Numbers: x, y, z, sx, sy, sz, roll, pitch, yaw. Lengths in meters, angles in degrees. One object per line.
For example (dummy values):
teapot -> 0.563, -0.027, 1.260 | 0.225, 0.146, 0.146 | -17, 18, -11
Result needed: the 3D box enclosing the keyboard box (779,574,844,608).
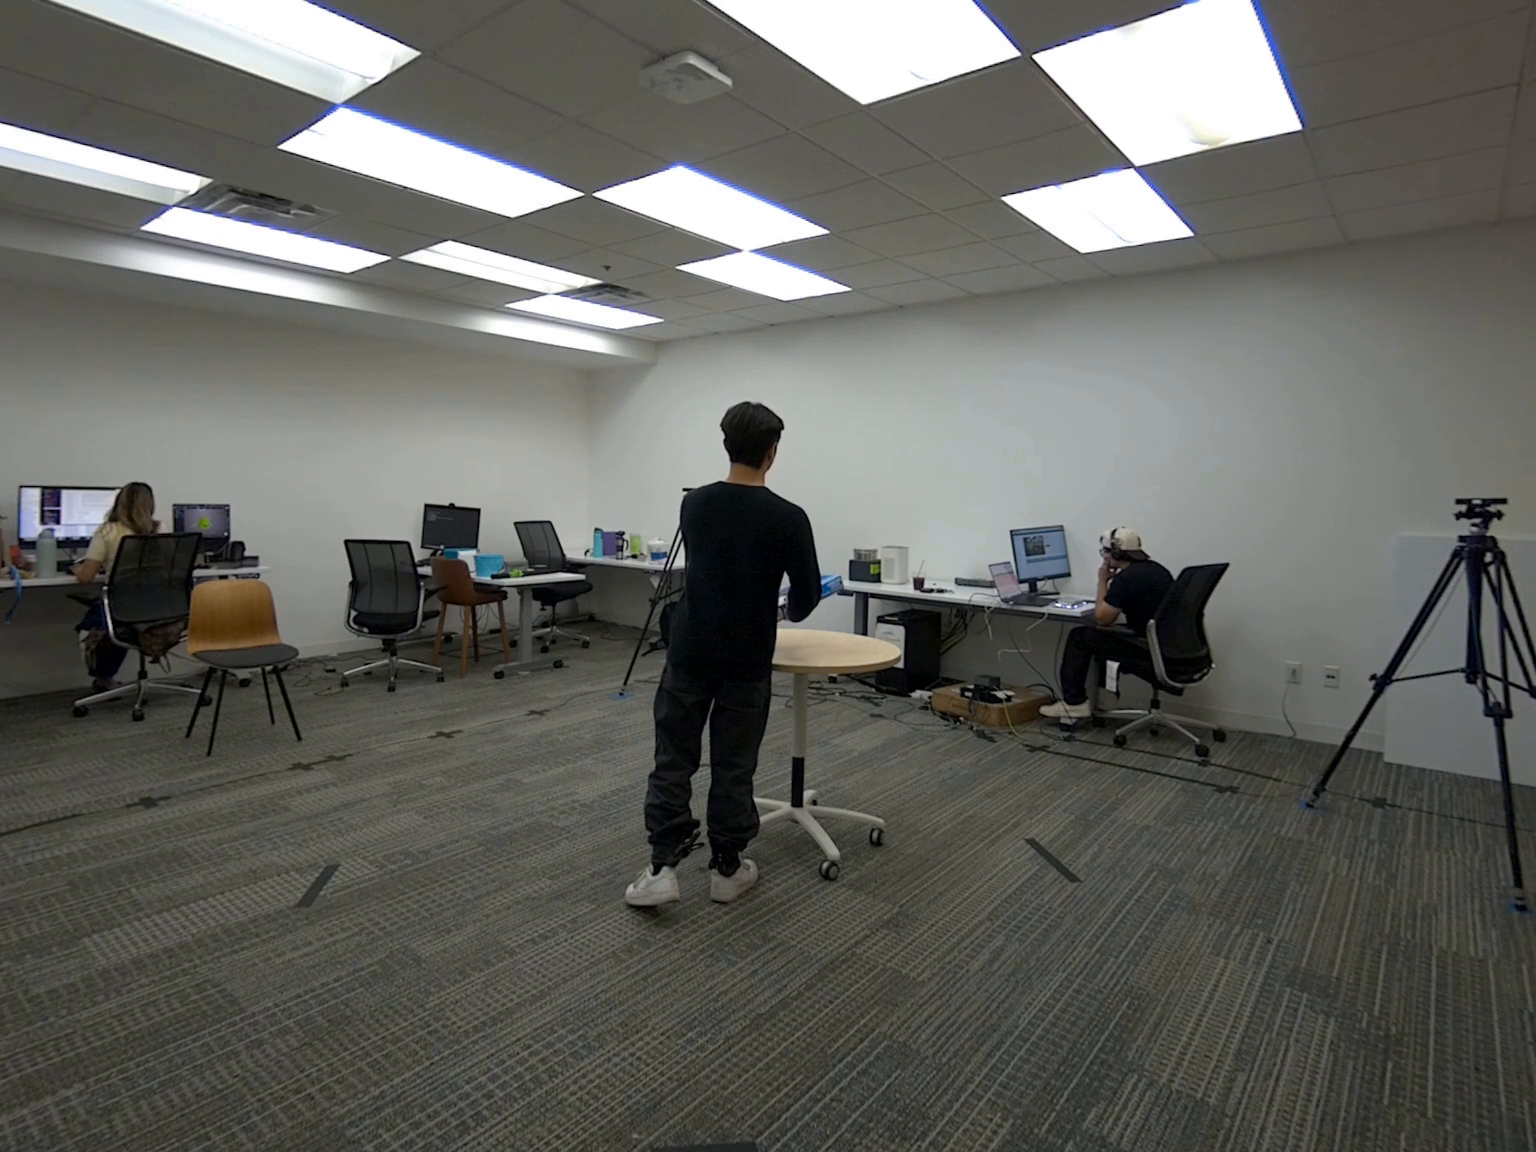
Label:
keyboard box -> 0.079, 0.090, 3.312 | 0.430, 0.058, 0.181 | -25, 15, -34
